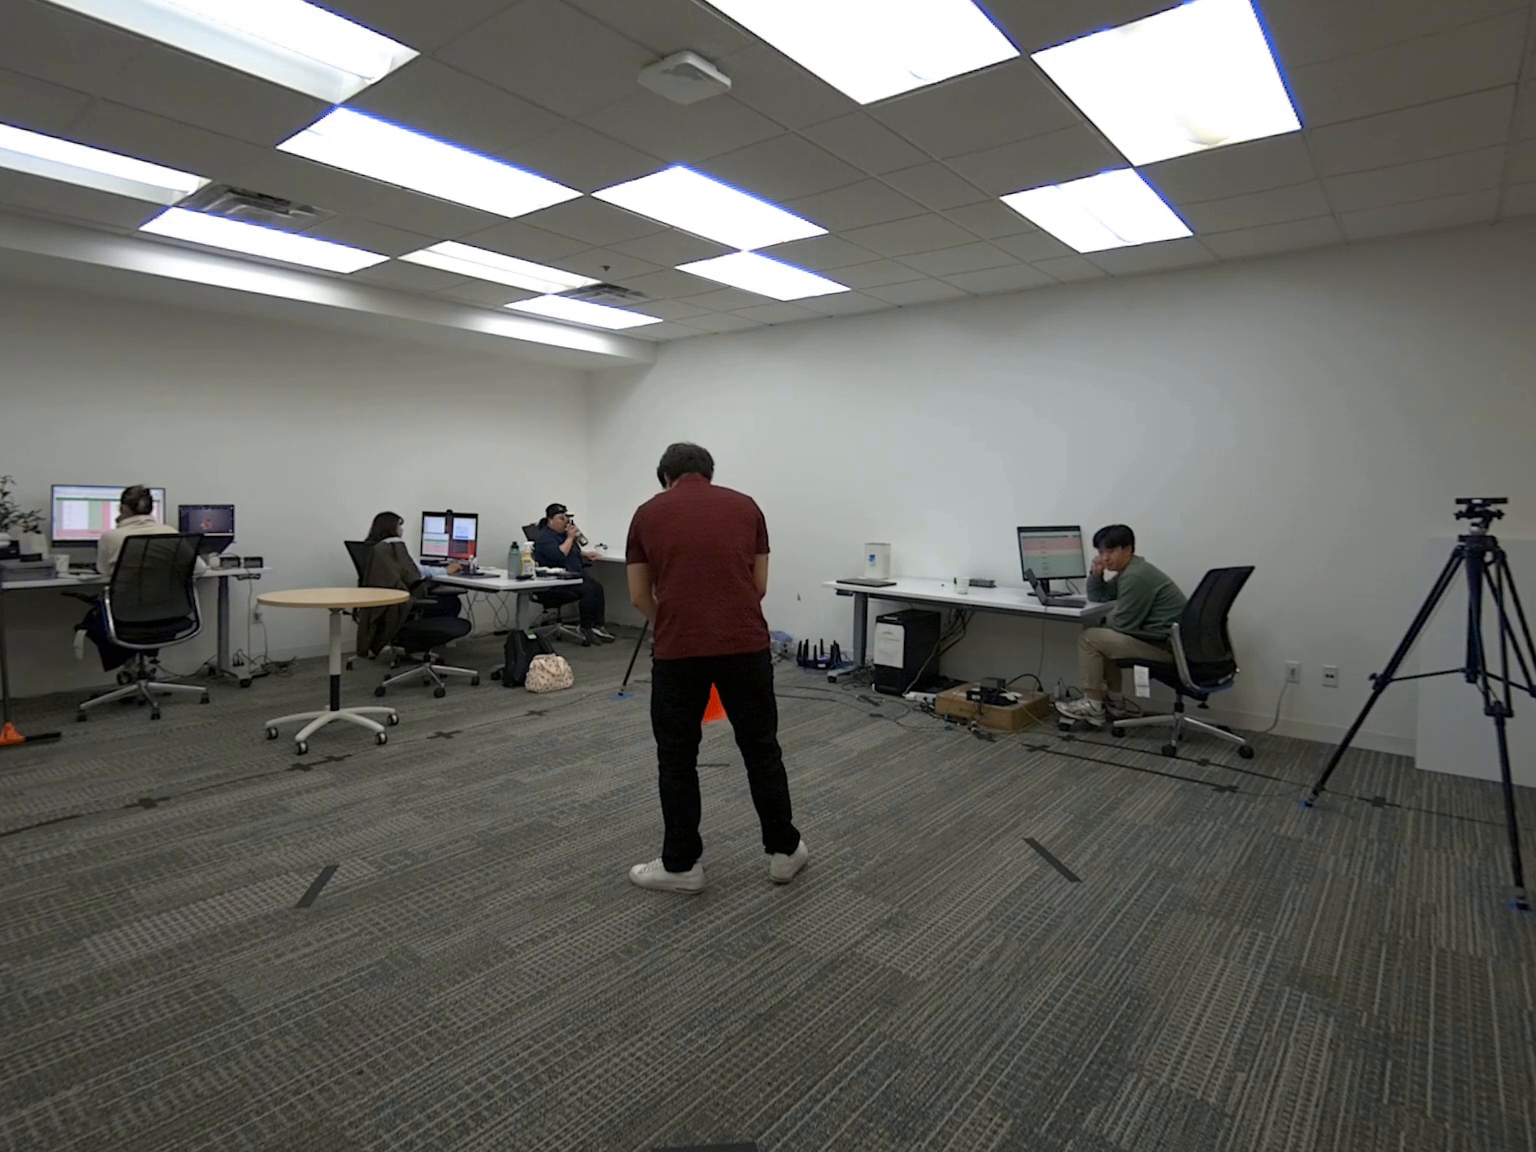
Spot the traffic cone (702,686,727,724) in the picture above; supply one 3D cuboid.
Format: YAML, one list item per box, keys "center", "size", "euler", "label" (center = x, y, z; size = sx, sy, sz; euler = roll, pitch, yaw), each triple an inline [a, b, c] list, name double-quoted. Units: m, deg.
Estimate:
- center: [-0.232, 0.345, 3.266]
  size: [0.201, 0.375, 0.212]
  euler: [-12, 36, -26]
  label: "traffic cone"
